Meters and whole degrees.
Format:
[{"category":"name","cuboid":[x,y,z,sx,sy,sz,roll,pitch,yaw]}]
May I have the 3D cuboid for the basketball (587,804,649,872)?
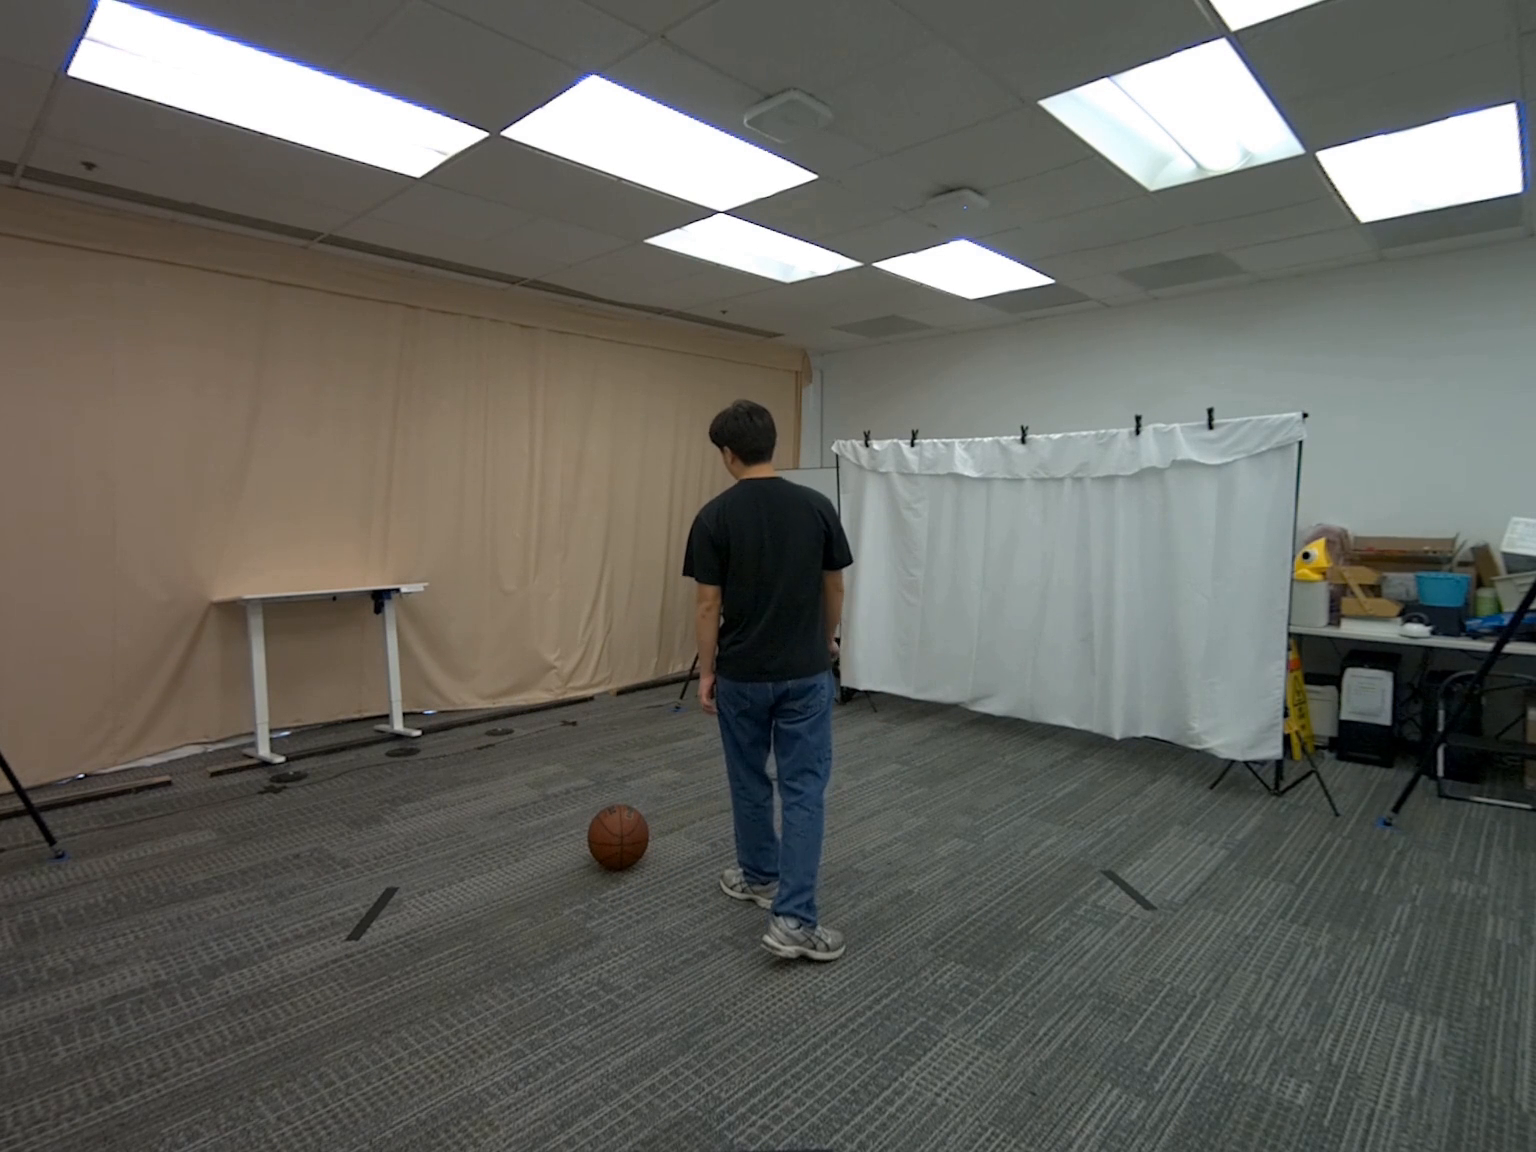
[{"category":"basketball","cuboid":[-0.578,1.001,3.256,0.236,0.235,0.237,0,4,-2]}]
